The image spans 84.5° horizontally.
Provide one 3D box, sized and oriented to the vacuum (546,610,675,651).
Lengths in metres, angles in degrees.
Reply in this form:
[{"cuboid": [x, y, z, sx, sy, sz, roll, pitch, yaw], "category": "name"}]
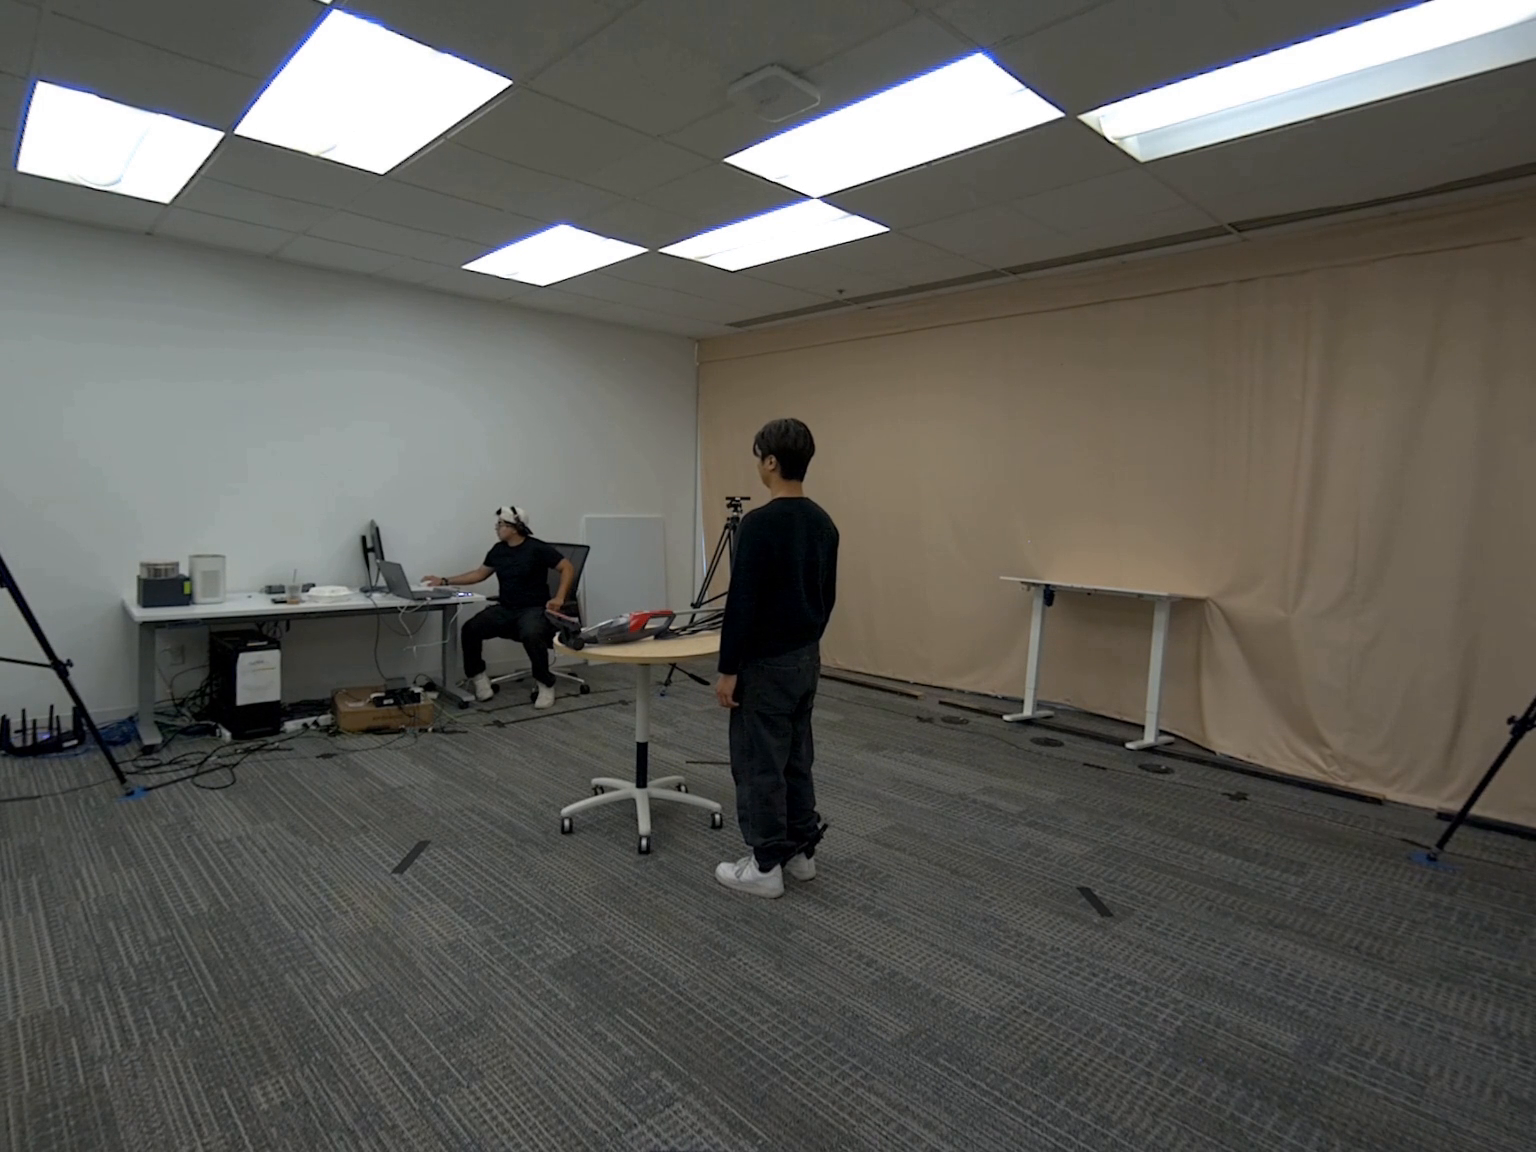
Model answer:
[{"cuboid": [-0.417, 0.215, 3.657, 1.026, 0.143, 0.260, -3, 12, -38], "category": "vacuum"}]
